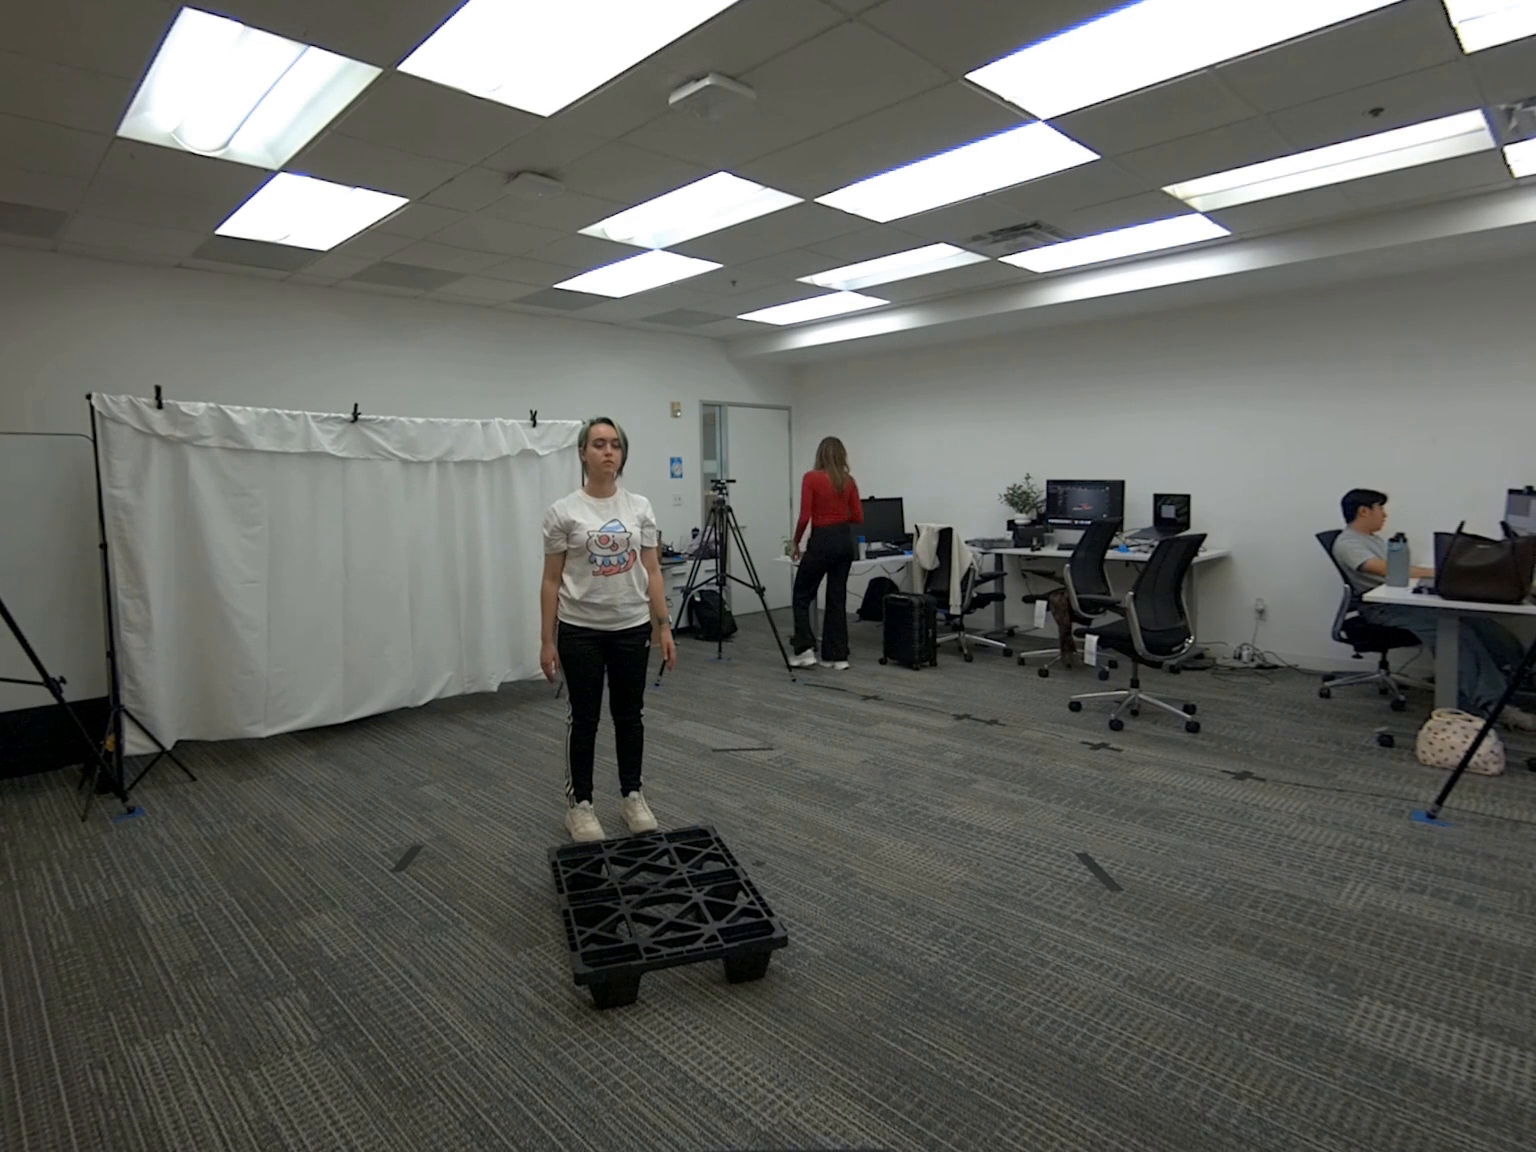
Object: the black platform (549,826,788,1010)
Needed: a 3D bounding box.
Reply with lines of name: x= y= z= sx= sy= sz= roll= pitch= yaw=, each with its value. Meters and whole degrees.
black platform: x=-0.351 y=1.035 z=2.676 sx=0.596 sy=0.142 sz=0.822 roll=-4 pitch=7 yaw=-18
